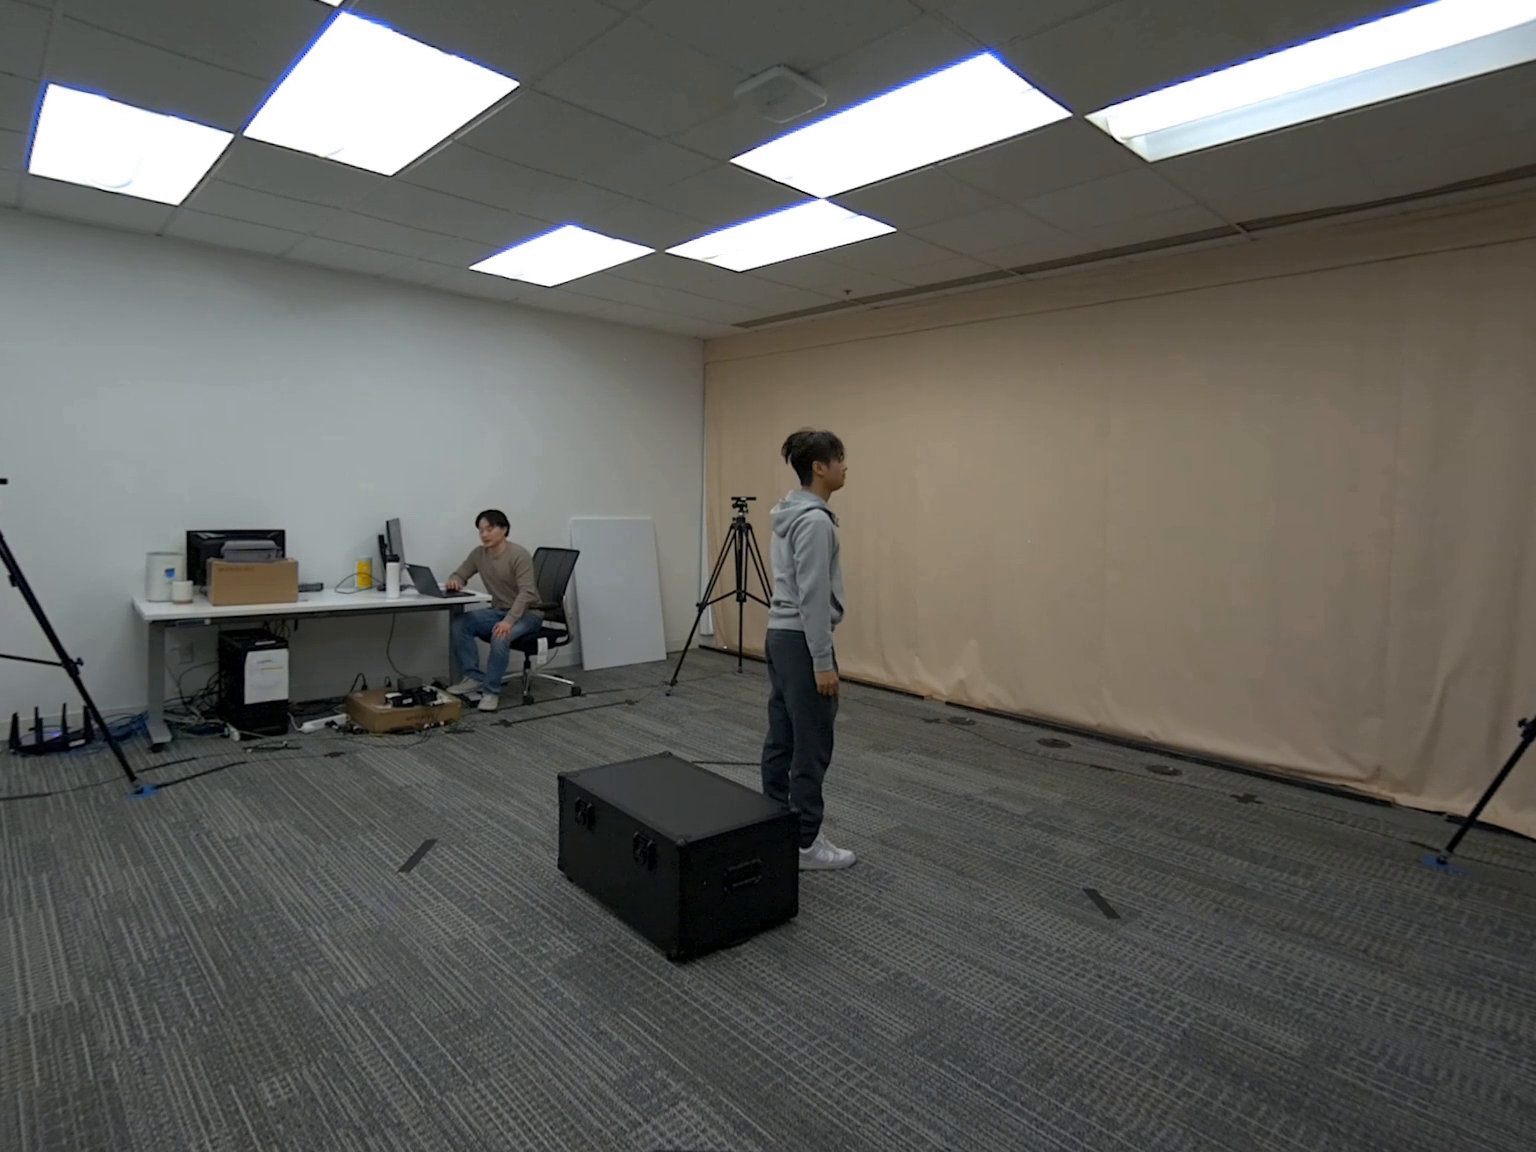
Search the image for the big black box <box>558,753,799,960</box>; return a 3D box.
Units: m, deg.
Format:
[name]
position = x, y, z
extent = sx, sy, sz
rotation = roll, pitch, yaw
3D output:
[big black box]
position = -0.357, 0.929, 2.934
extent = 0.509, 0.395, 0.884
rotation = -2, 6, -40
